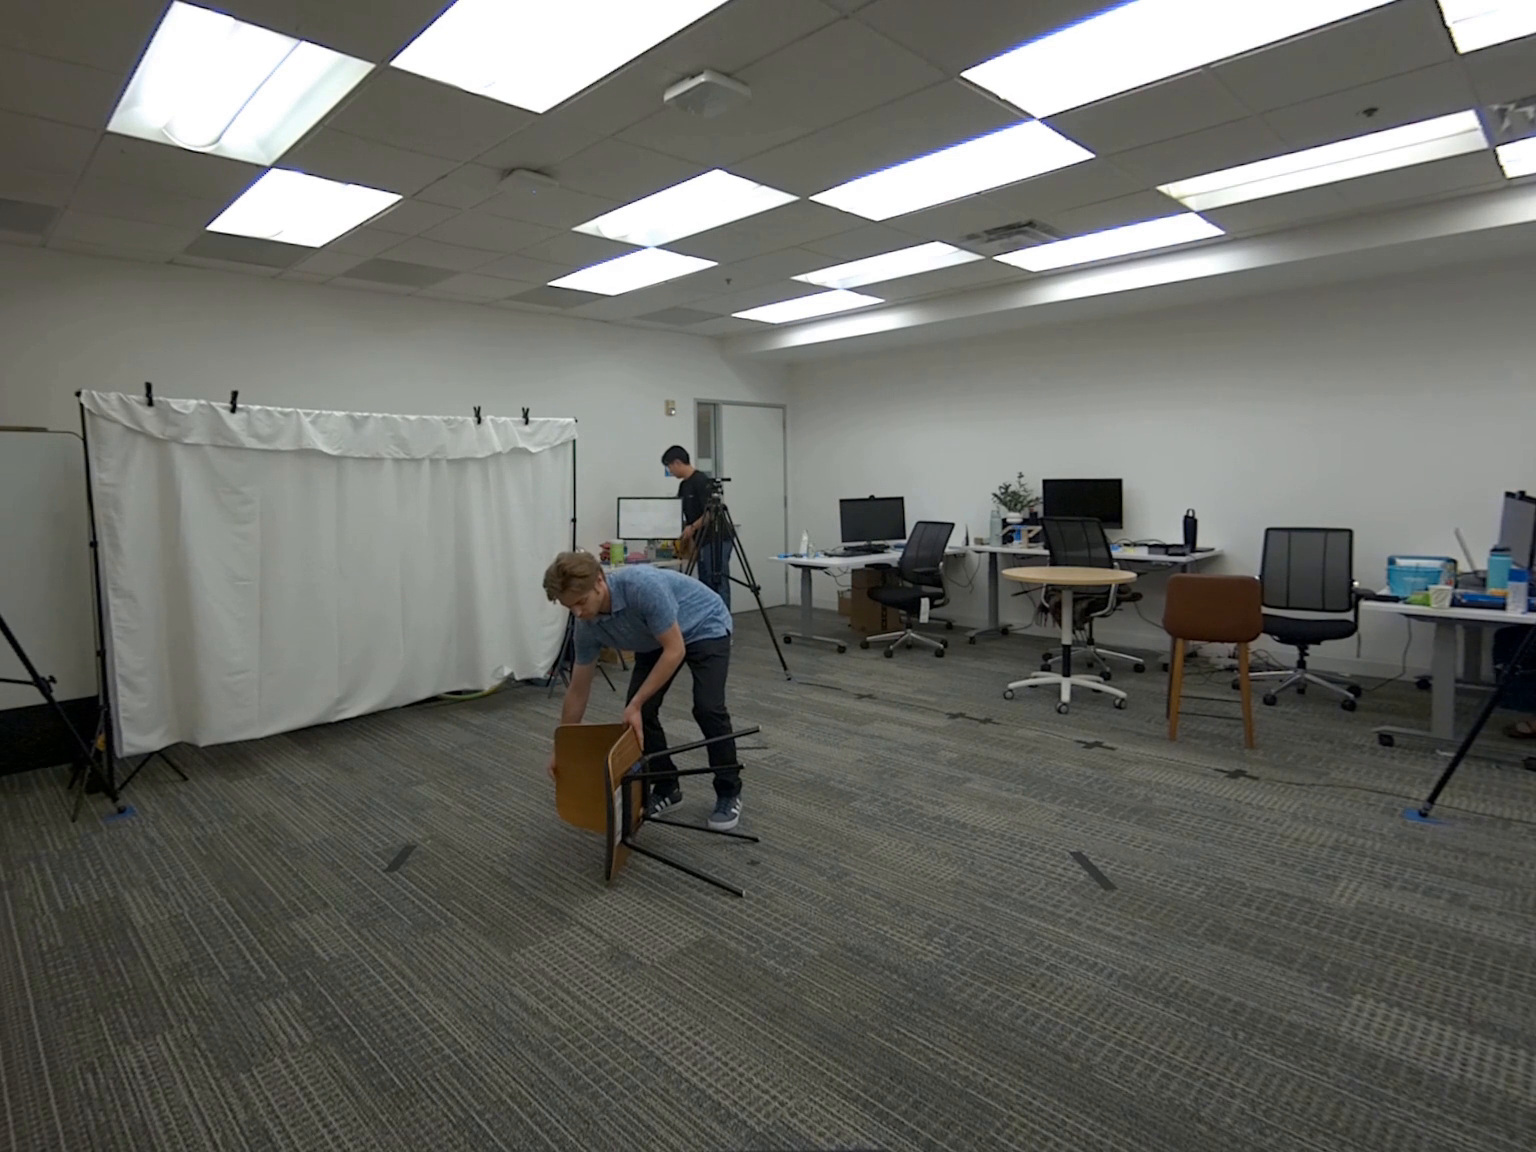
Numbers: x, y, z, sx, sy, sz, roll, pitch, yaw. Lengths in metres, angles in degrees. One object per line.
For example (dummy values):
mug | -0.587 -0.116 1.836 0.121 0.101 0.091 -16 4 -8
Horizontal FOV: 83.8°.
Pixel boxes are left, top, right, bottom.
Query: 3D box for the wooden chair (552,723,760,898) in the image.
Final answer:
wooden chair | -0.483 0.820 3.122 0.888 0.475 0.519 1 7 12
